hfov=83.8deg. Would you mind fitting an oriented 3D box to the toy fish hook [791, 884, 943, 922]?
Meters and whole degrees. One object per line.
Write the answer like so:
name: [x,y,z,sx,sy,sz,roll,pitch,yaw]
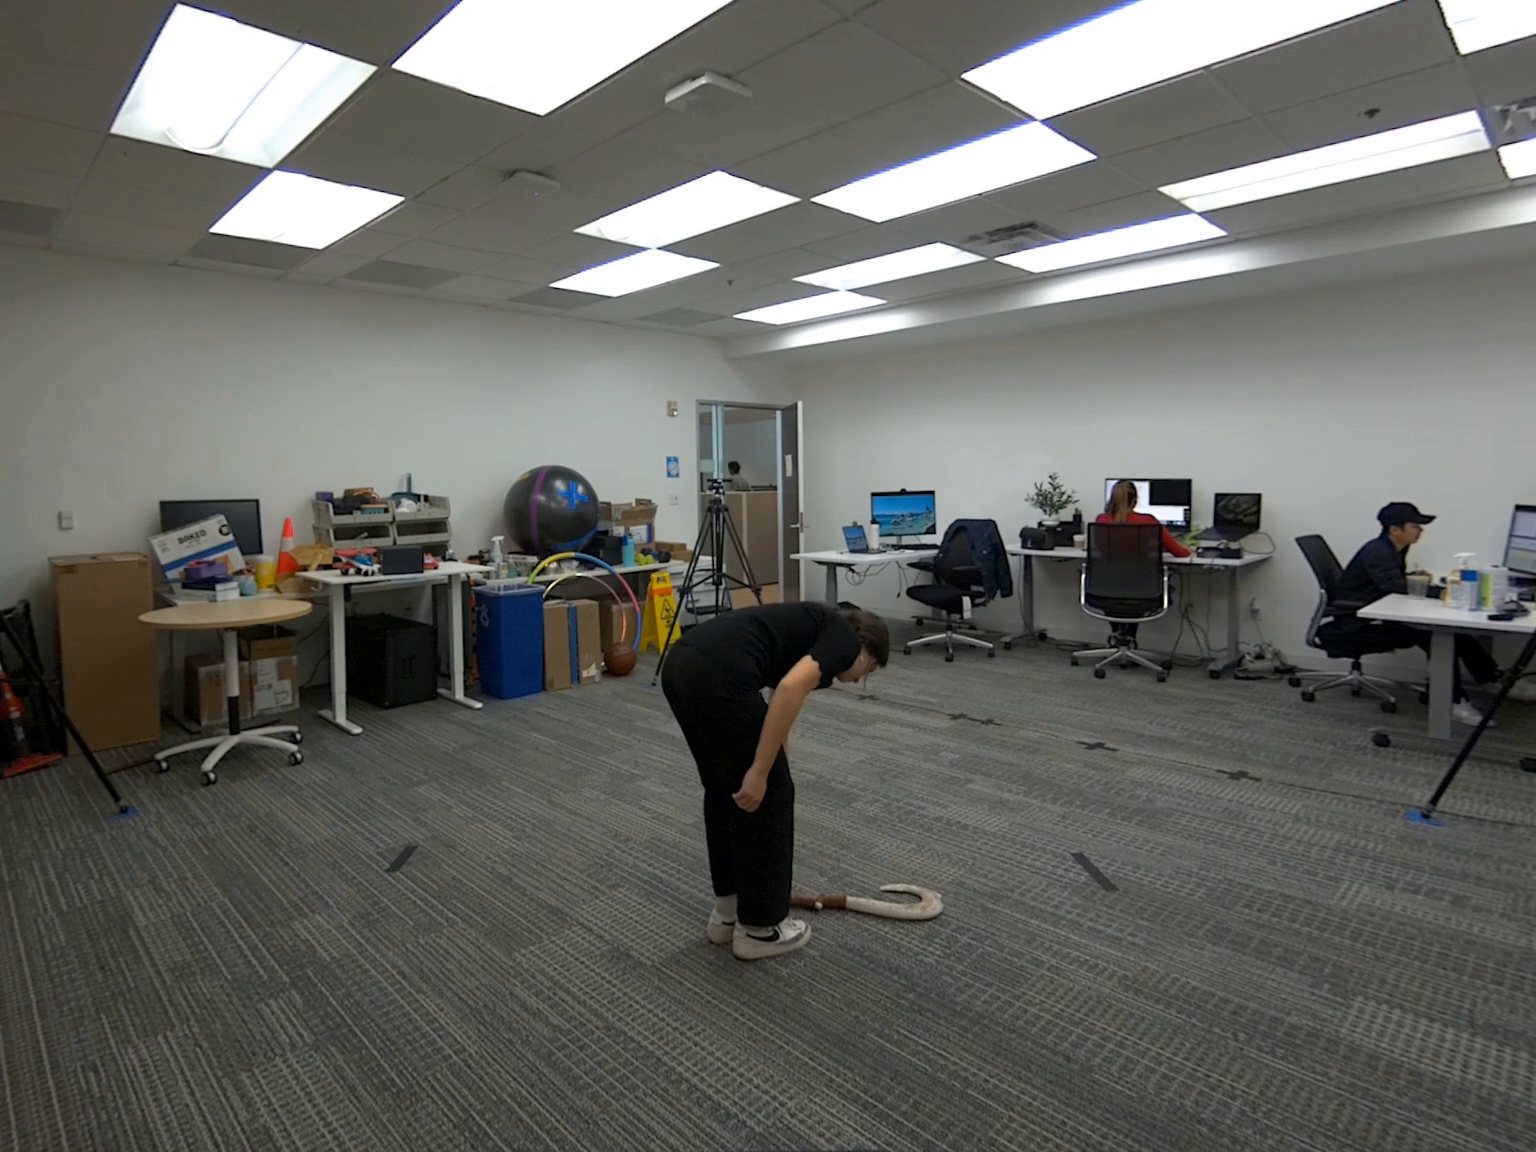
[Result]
toy fish hook: [0.308,1.054,2.802,0.511,0.048,0.222,1,-1,8]
